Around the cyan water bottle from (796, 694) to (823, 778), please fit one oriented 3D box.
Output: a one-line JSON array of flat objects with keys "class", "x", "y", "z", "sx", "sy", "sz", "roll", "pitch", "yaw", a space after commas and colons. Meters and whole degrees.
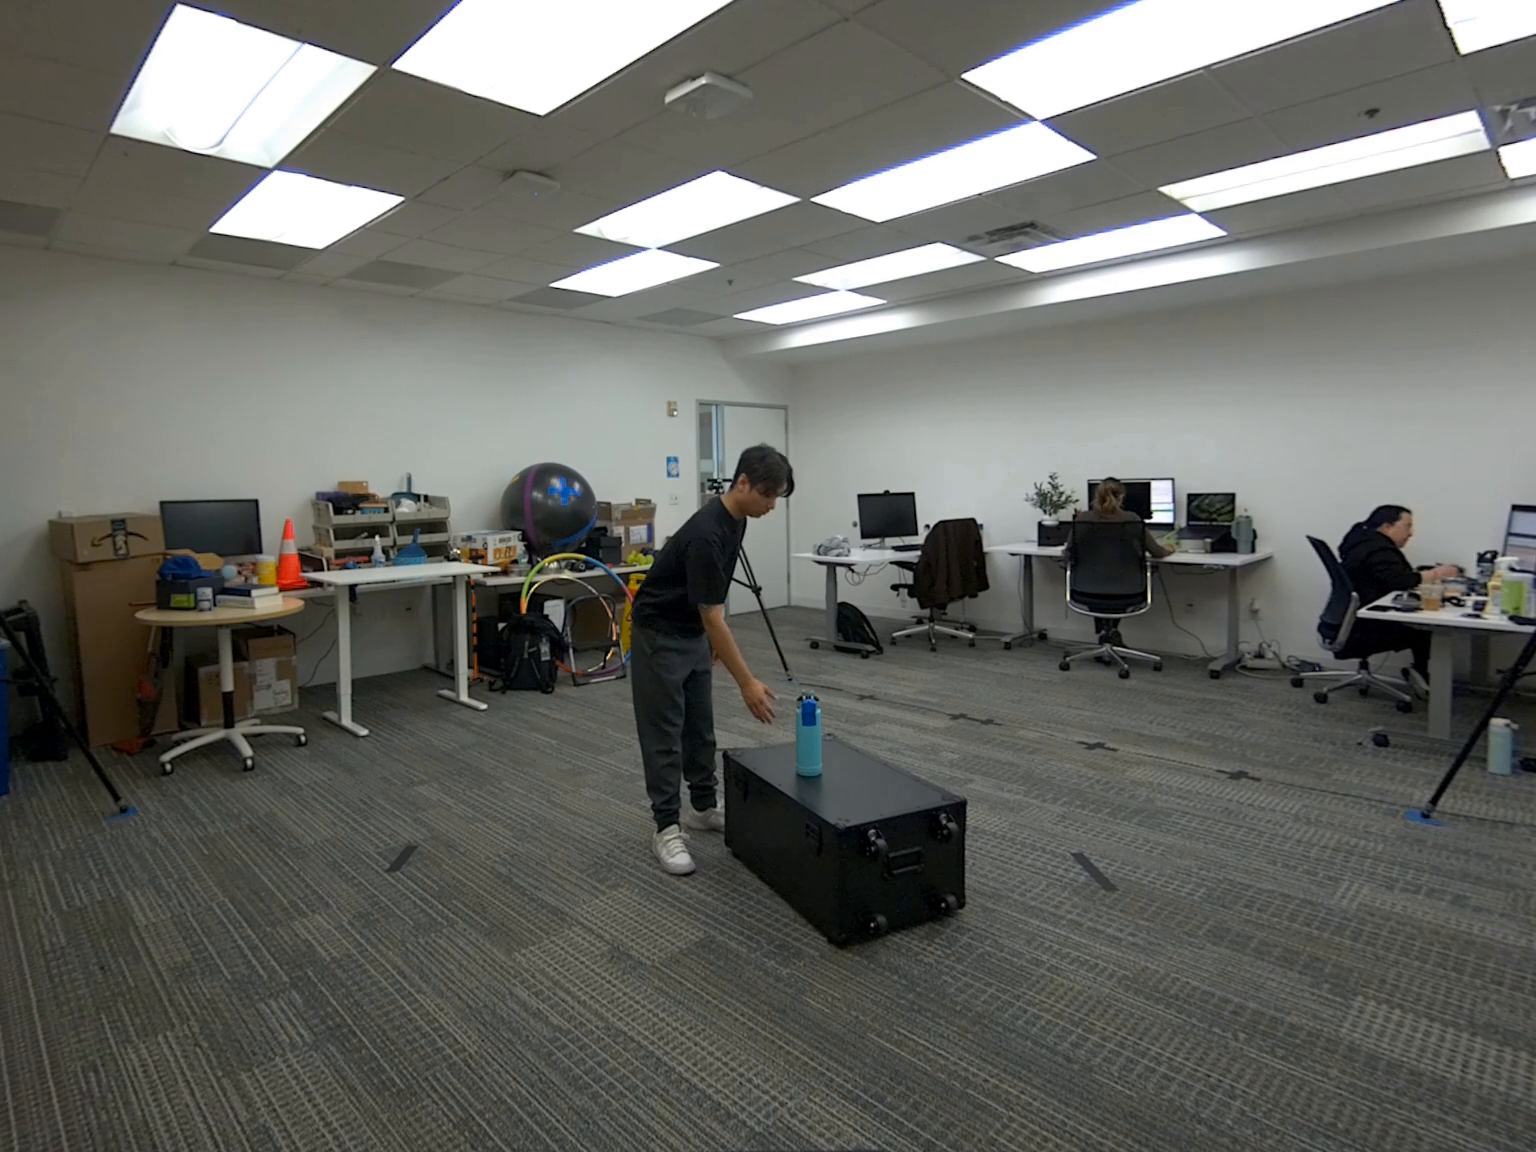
[{"class": "cyan water bottle", "x": 0.147, "y": 0.546, "z": 2.963, "sx": 0.092, "sy": 0.282, "sz": 0.093, "roll": -2, "pitch": 7, "yaw": -1}]
